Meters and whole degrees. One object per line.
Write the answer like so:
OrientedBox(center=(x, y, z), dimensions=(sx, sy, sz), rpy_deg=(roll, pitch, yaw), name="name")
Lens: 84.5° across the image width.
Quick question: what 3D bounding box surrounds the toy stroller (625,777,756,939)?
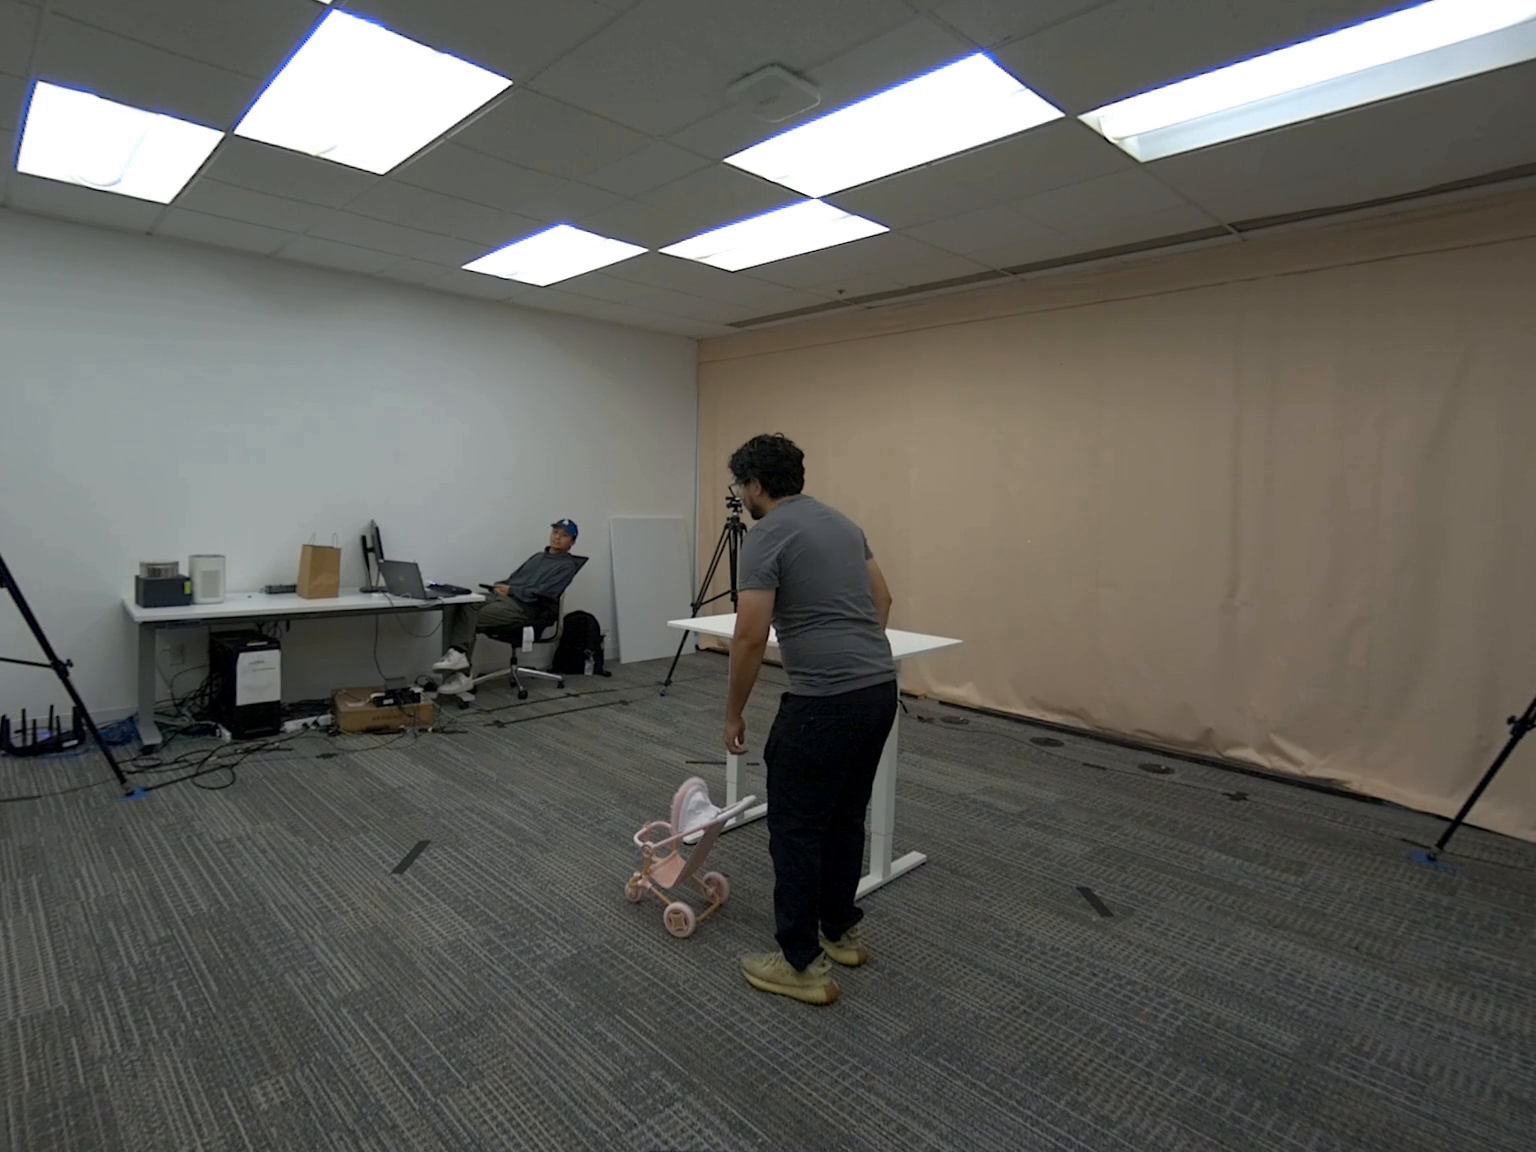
OrientedBox(center=(-0.288, 0.910, 2.795), dimensions=(0.350, 0.532, 0.276), rpy_deg=(23, 12, 27), name="toy stroller")
